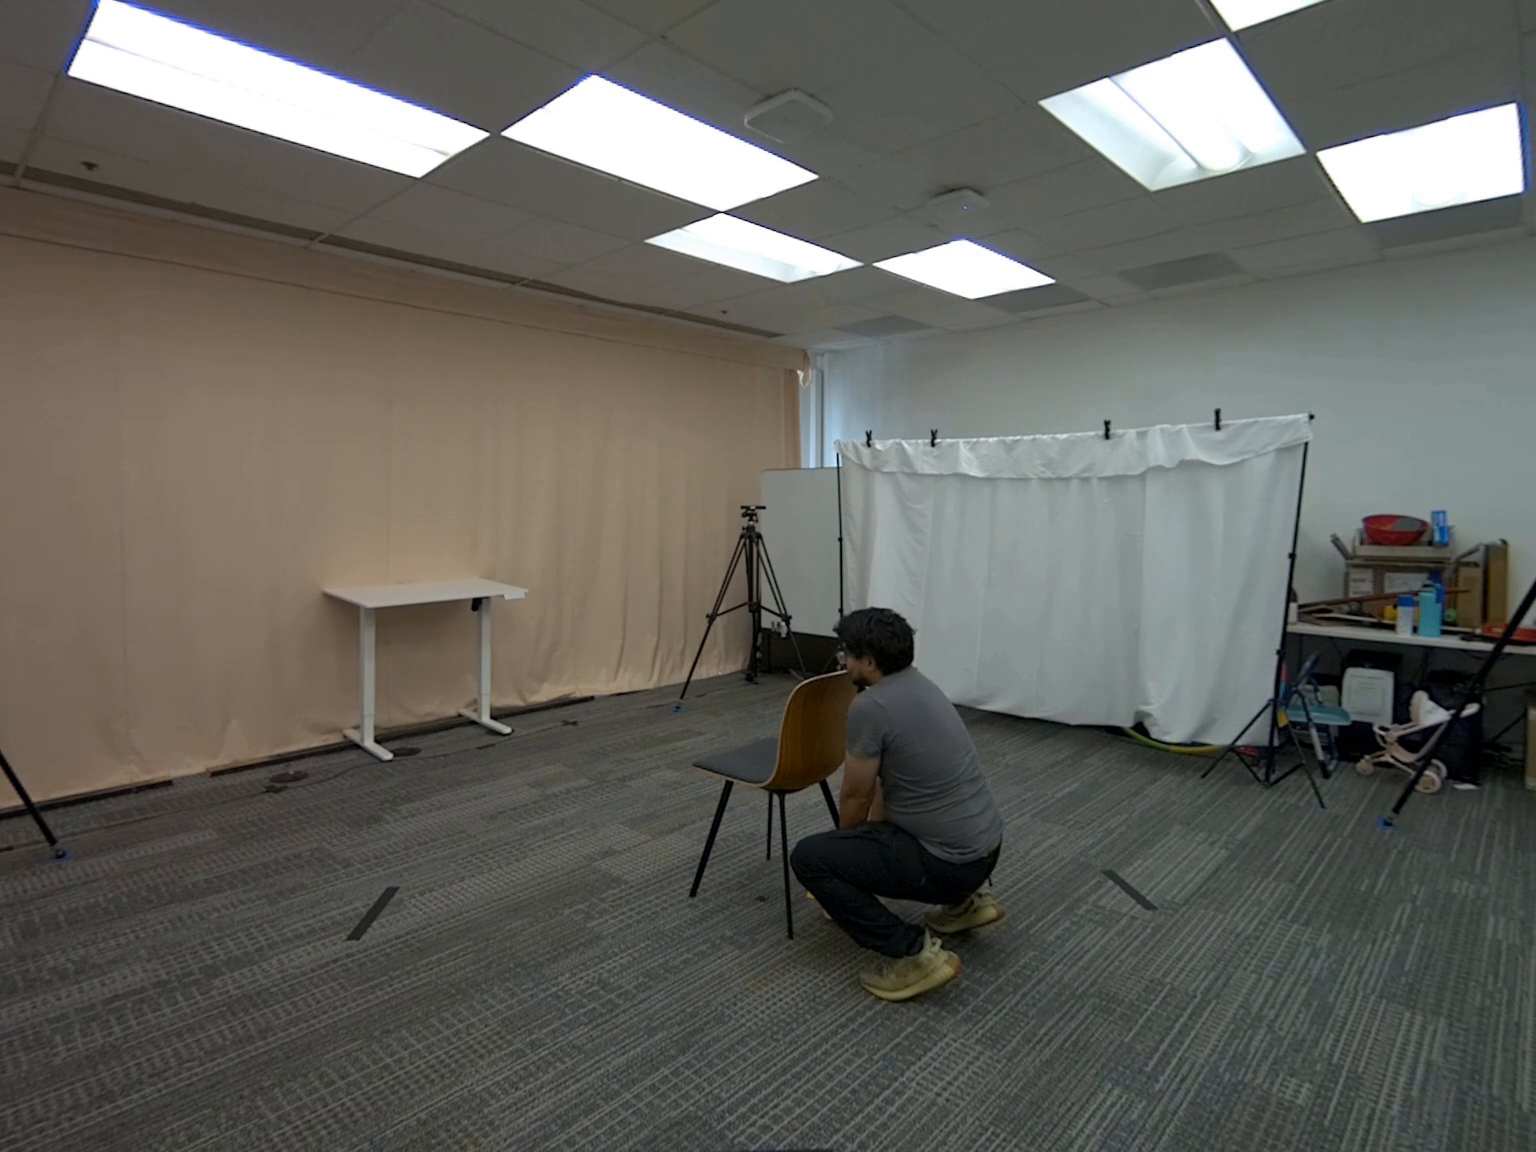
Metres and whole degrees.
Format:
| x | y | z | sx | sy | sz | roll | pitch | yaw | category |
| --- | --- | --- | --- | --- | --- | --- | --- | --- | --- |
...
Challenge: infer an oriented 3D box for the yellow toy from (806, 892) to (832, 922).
| x | y | z | sx | sy | sz | roll | pitch | yaw | category |
| --- | --- | --- | --- | --- | --- | --- | --- | --- | --- |
| 0.267 | 1.012 | 2.787 | 0.188 | 0.231 | 0.210 | -13 | 0 | -44 | yellow toy |
